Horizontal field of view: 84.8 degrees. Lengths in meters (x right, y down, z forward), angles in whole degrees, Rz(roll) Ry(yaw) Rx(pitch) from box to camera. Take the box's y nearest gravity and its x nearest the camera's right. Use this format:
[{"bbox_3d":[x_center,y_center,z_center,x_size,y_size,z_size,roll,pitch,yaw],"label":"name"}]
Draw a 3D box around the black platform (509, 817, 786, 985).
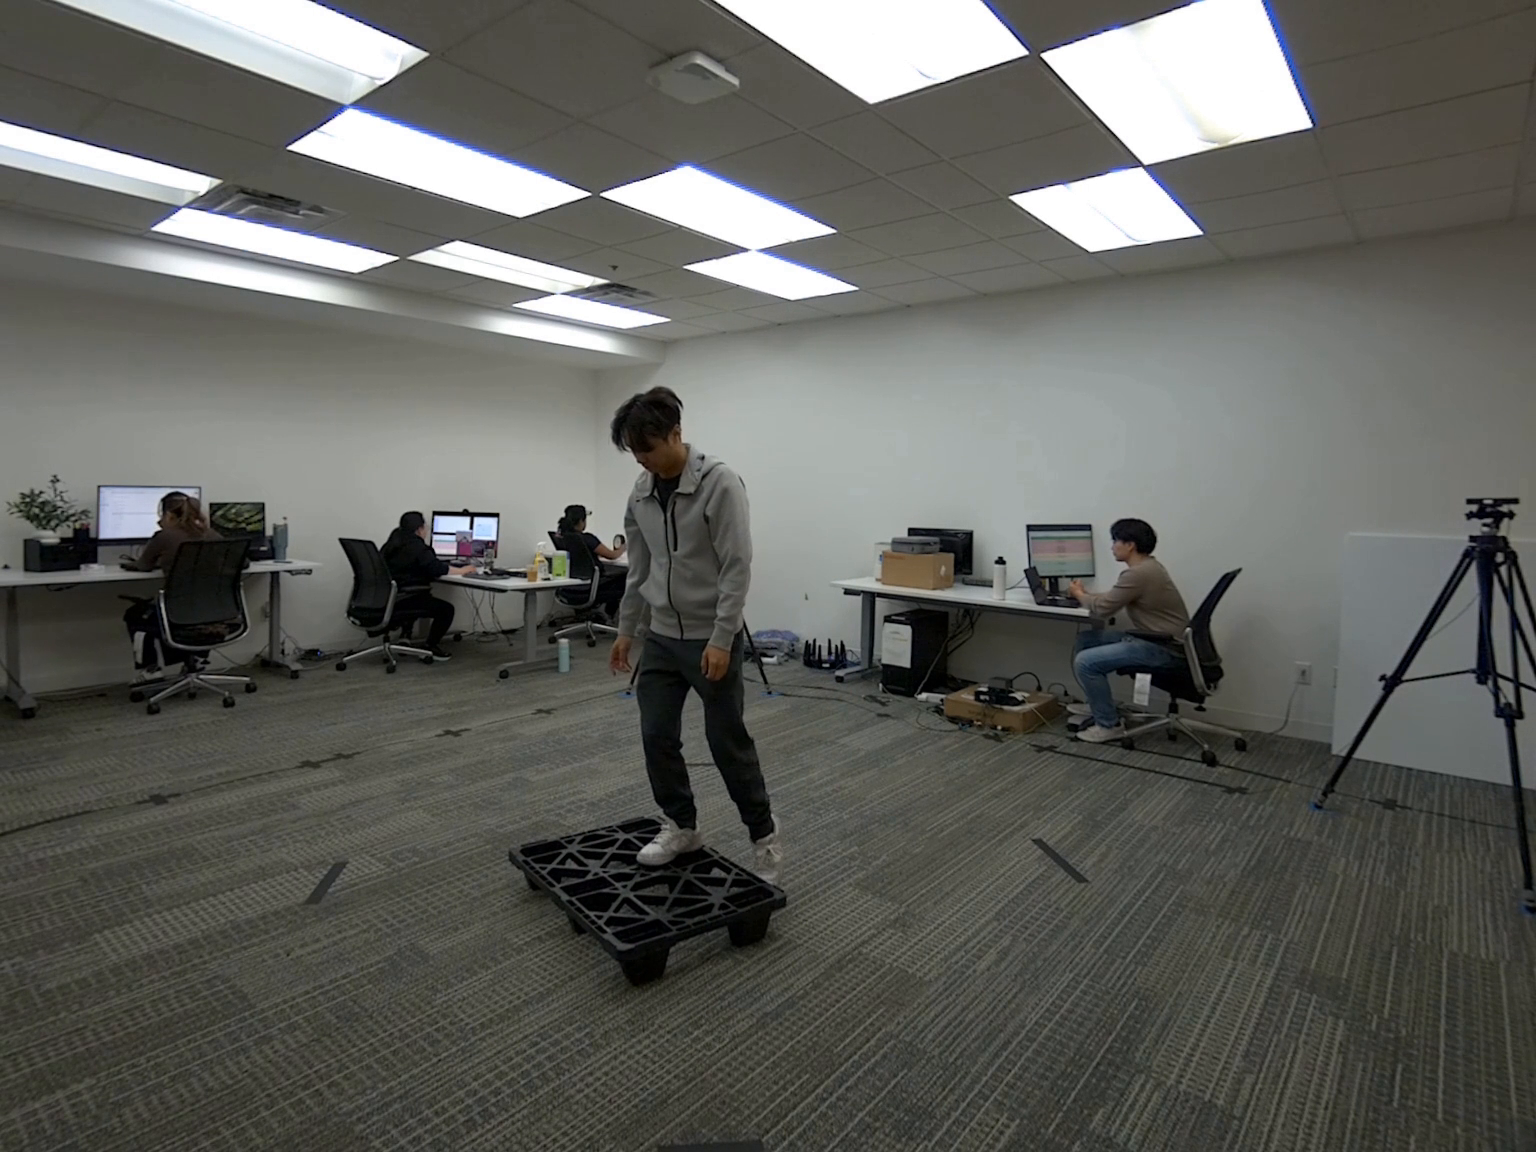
[{"bbox_3d":[-0.426,1.028,2.792,0.587,0.143,0.832,-2,6,-37],"label":"black platform"}]
